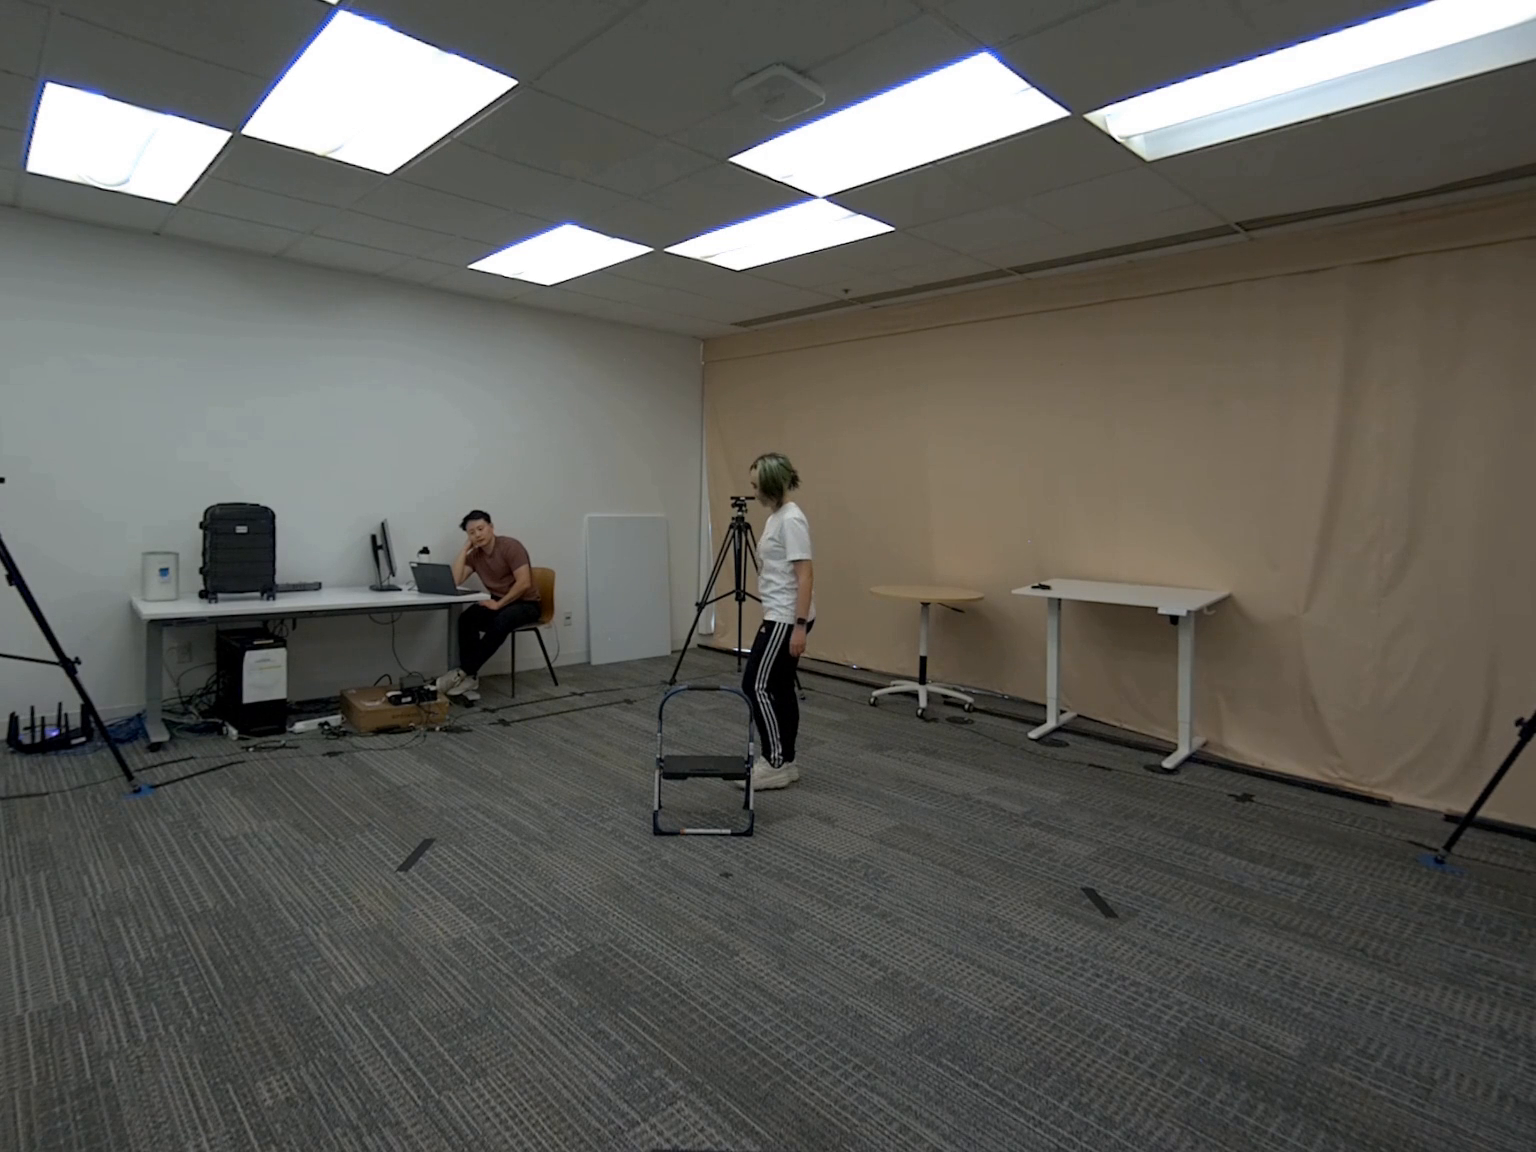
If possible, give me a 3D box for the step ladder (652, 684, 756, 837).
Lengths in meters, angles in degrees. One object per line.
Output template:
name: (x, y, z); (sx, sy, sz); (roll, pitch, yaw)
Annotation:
step ladder: (-0.282, 0.756, 3.615); (0.429, 0.605, 0.351); (1, 3, -4)
